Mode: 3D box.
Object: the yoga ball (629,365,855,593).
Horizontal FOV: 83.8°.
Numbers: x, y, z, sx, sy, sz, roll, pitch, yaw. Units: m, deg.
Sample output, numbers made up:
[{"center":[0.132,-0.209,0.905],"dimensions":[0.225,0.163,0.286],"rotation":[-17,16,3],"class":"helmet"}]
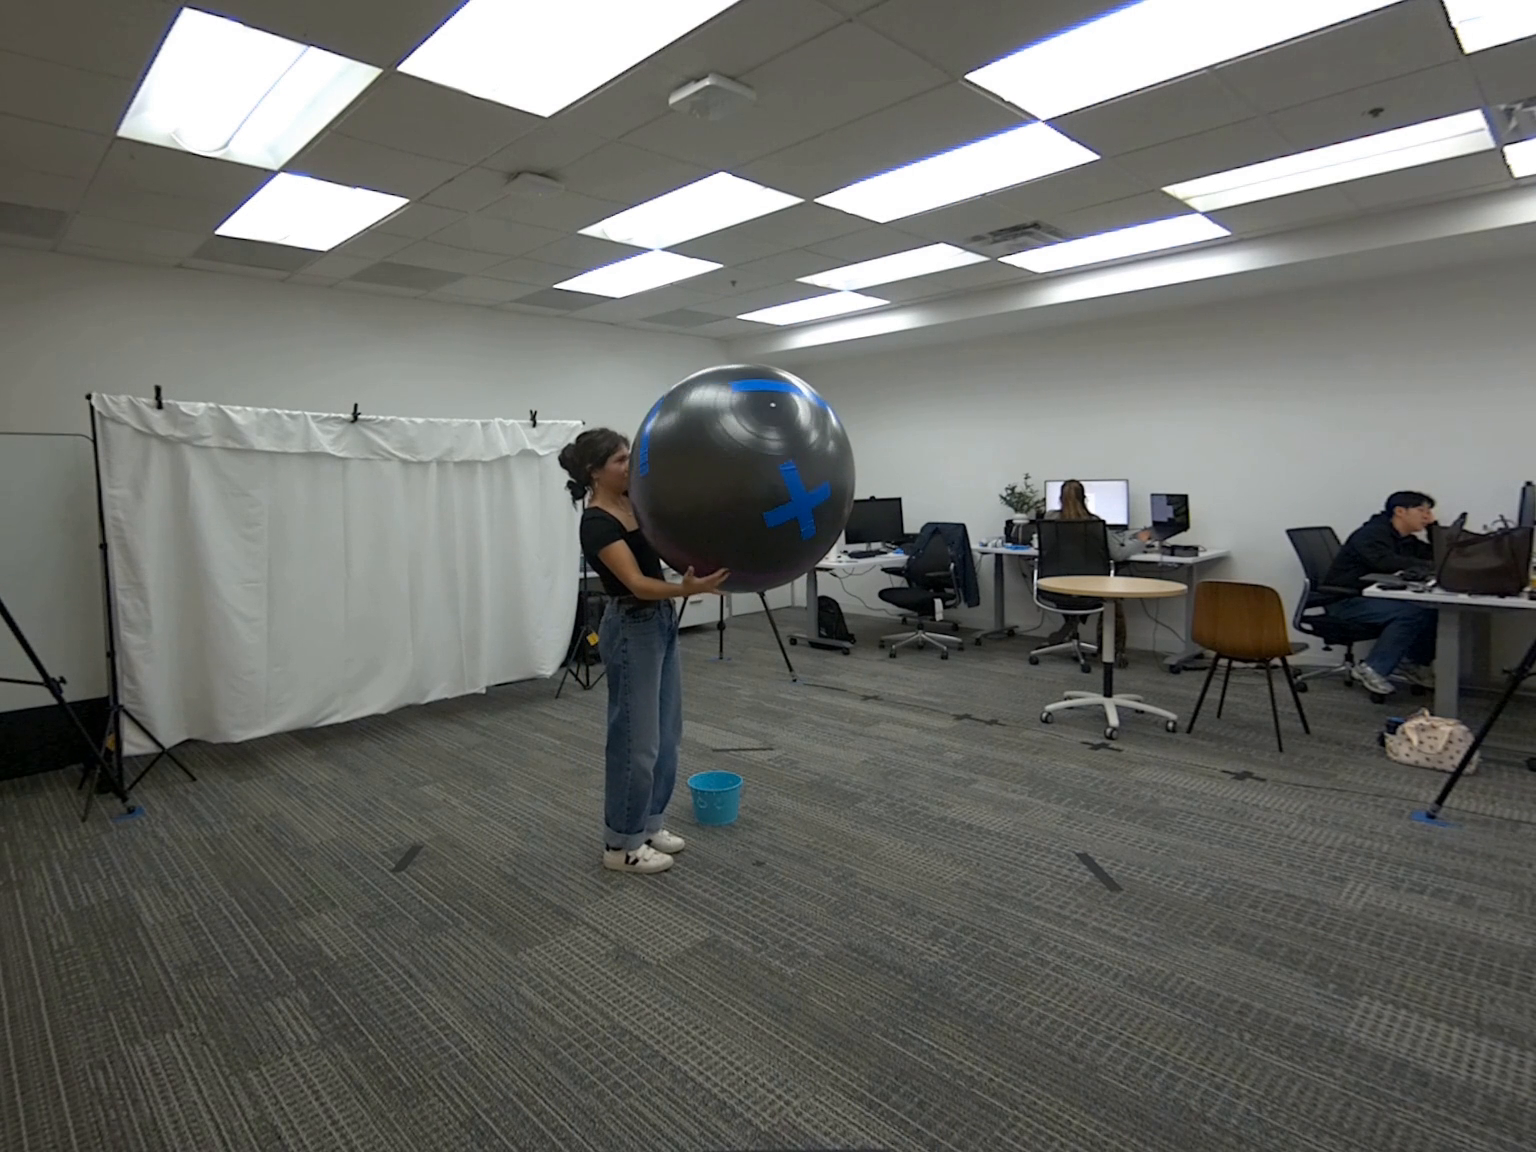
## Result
[{"center":[-0.085,-0.320,2.857],"dimensions":[0.757,0.755,0.762],"rotation":[-1,5,-2],"class":"yoga ball"}]
